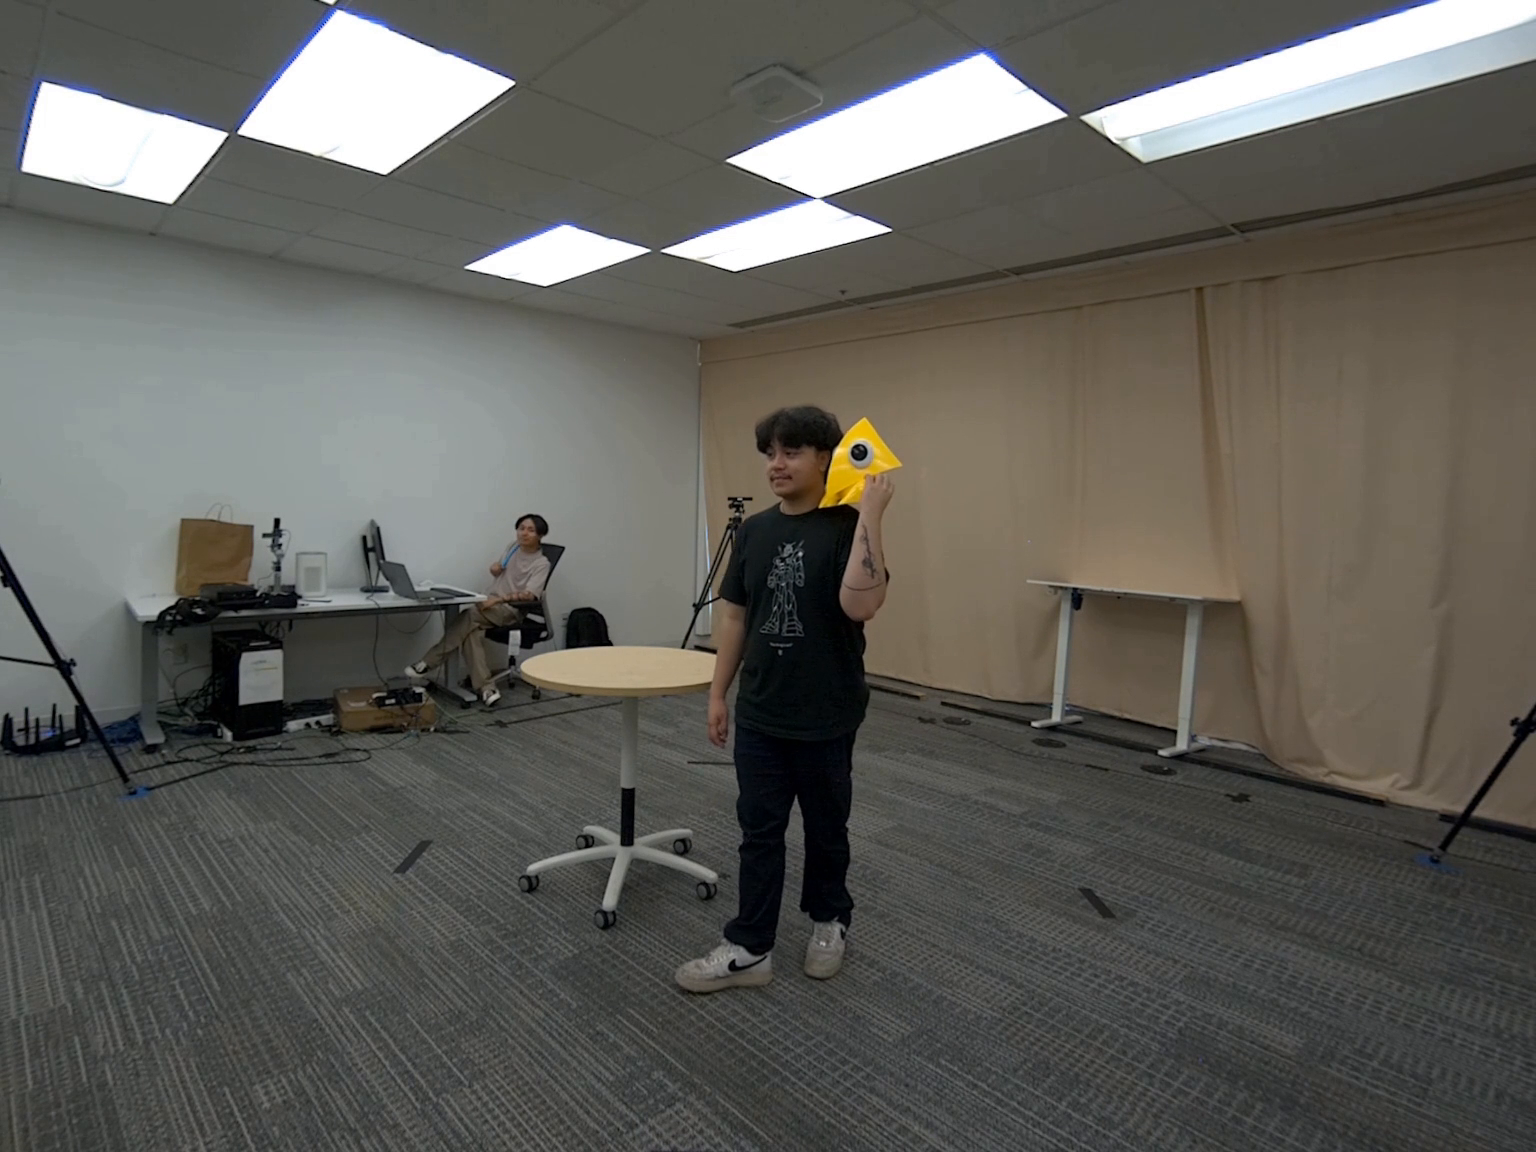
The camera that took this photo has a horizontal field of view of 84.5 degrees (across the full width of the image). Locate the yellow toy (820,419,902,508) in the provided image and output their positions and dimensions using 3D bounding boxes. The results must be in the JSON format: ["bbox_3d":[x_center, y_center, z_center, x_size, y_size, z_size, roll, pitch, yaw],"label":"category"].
[{"bbox_3d":[0.228,-0.316,2.307,0.190,0.231,0.208,-8,1,-22],"label":"yellow toy"}]
